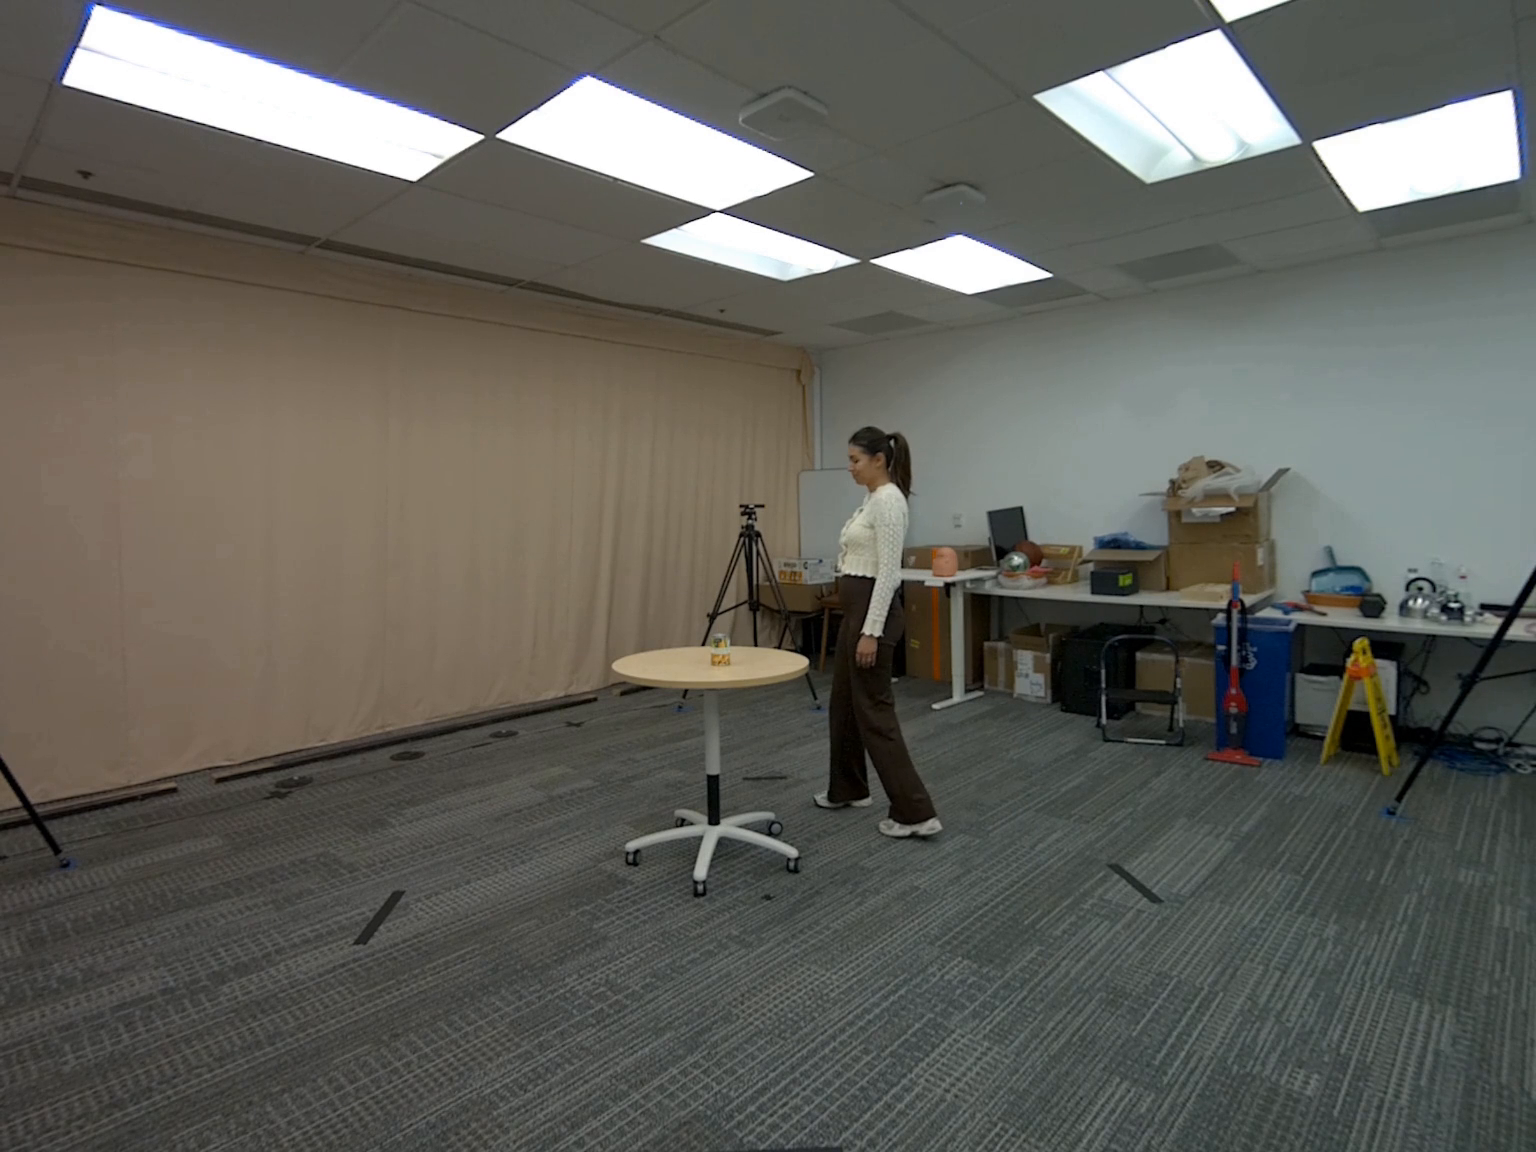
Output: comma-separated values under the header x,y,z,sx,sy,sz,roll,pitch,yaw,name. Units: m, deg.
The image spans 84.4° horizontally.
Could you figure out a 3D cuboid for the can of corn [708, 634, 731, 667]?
x,y,z,sx,sy,sz,roll,pitch,yaw,name
-0.177,0.281,3.226,0.074,0.111,0.074,-1,4,-2,can of corn
